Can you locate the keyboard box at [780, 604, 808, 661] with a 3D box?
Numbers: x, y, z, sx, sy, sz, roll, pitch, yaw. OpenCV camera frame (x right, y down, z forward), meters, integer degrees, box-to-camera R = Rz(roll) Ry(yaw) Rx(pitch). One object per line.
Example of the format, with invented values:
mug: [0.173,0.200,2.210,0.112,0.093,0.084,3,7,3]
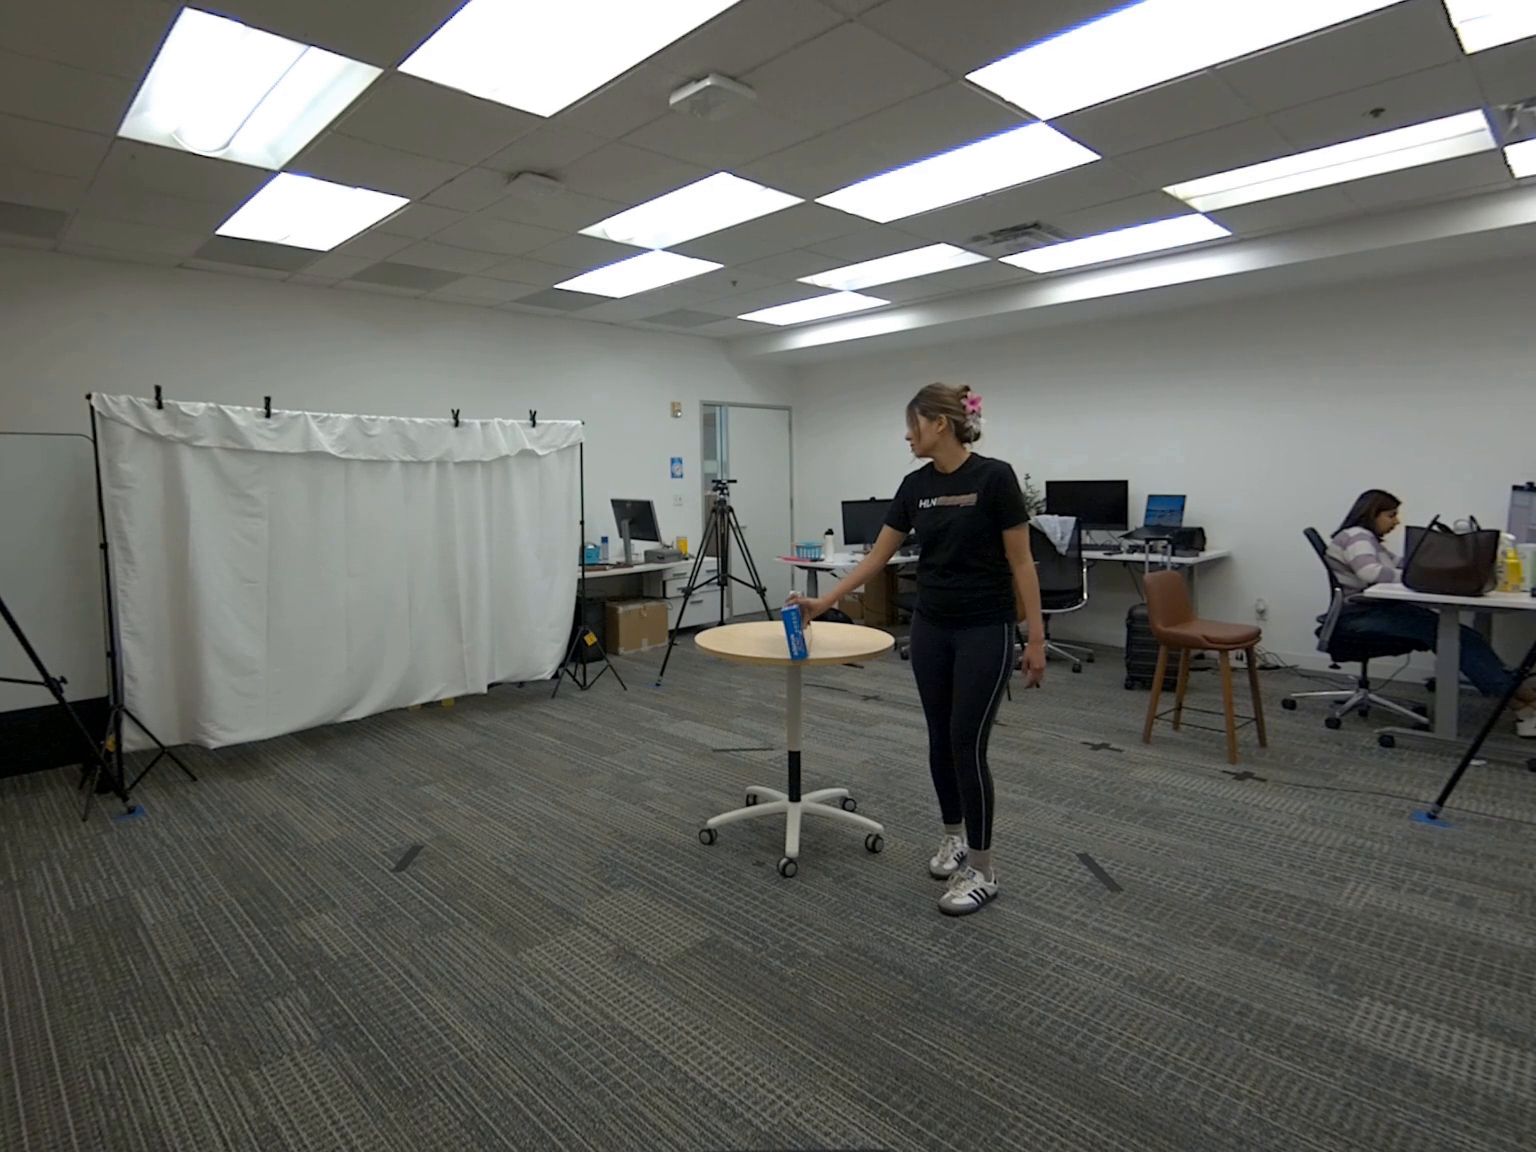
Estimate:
keyboard box: [0.108,0.167,3.112,0.059,0.175,0.435,-10,5,7]
